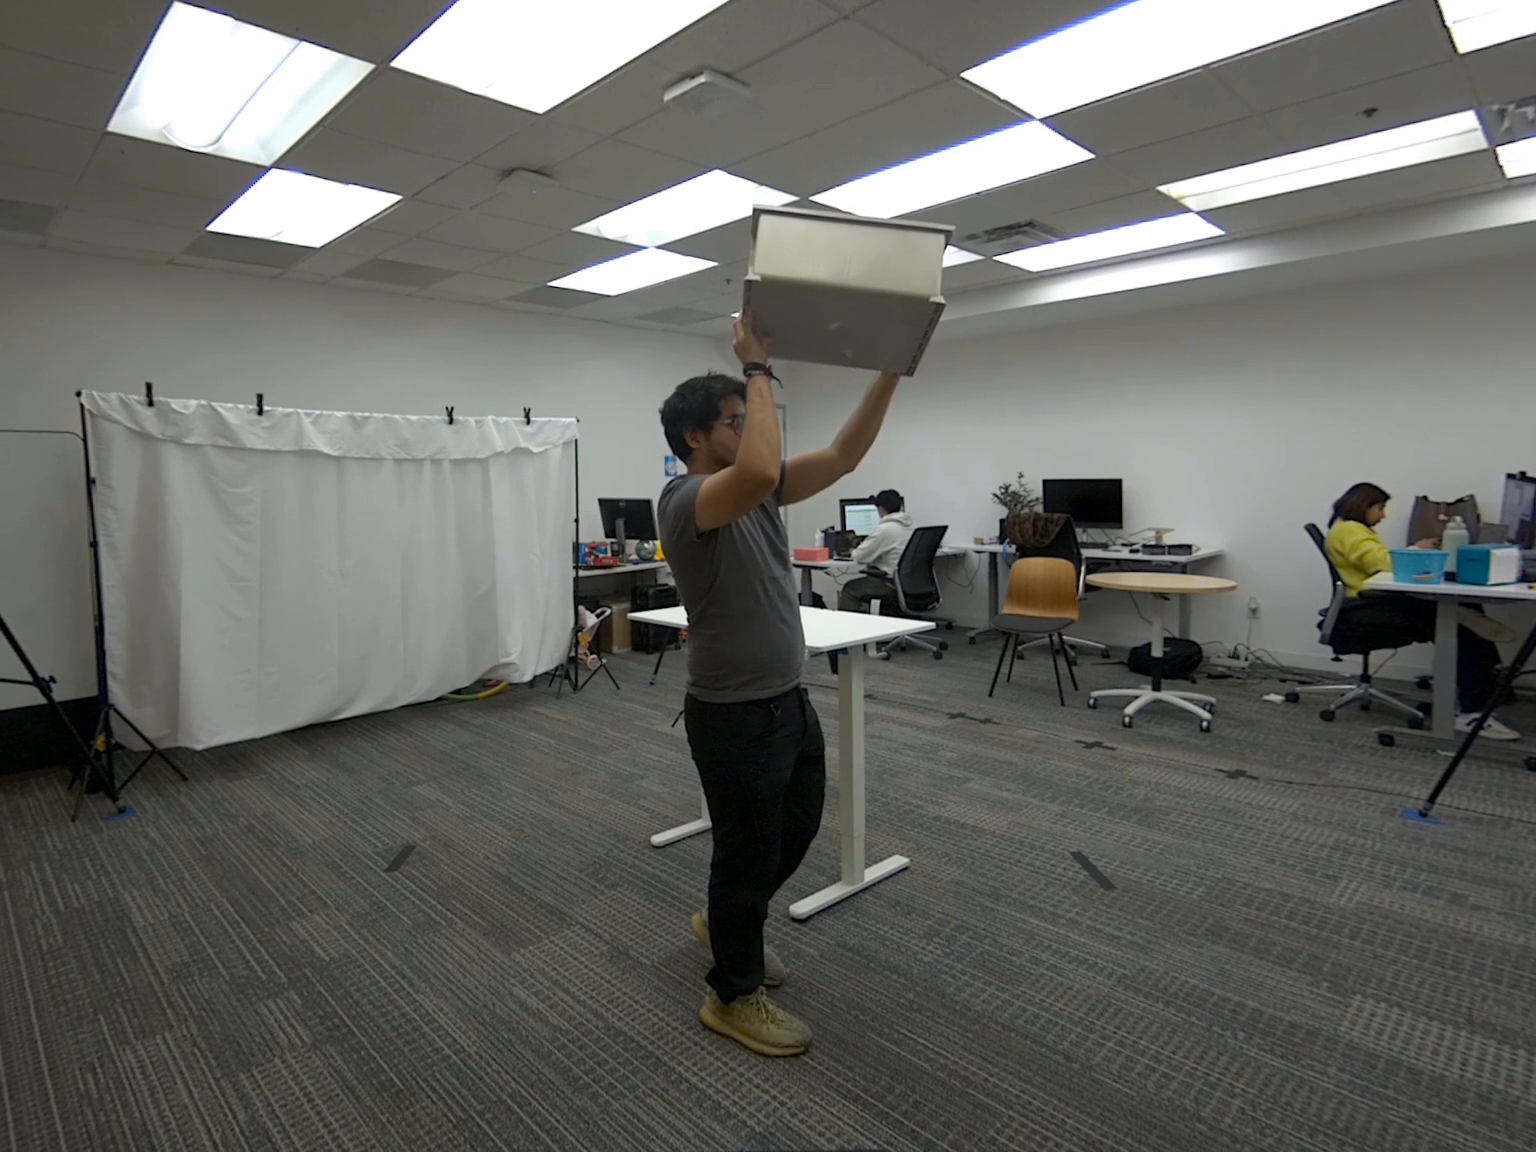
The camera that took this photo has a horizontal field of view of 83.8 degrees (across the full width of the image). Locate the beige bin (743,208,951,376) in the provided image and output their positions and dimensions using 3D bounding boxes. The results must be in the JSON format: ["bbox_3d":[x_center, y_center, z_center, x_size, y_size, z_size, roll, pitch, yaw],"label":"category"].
[{"bbox_3d":[0.155,-0.614,1.935,0.423,0.191,0.372,8,-16,0],"label":"beige bin"}]
